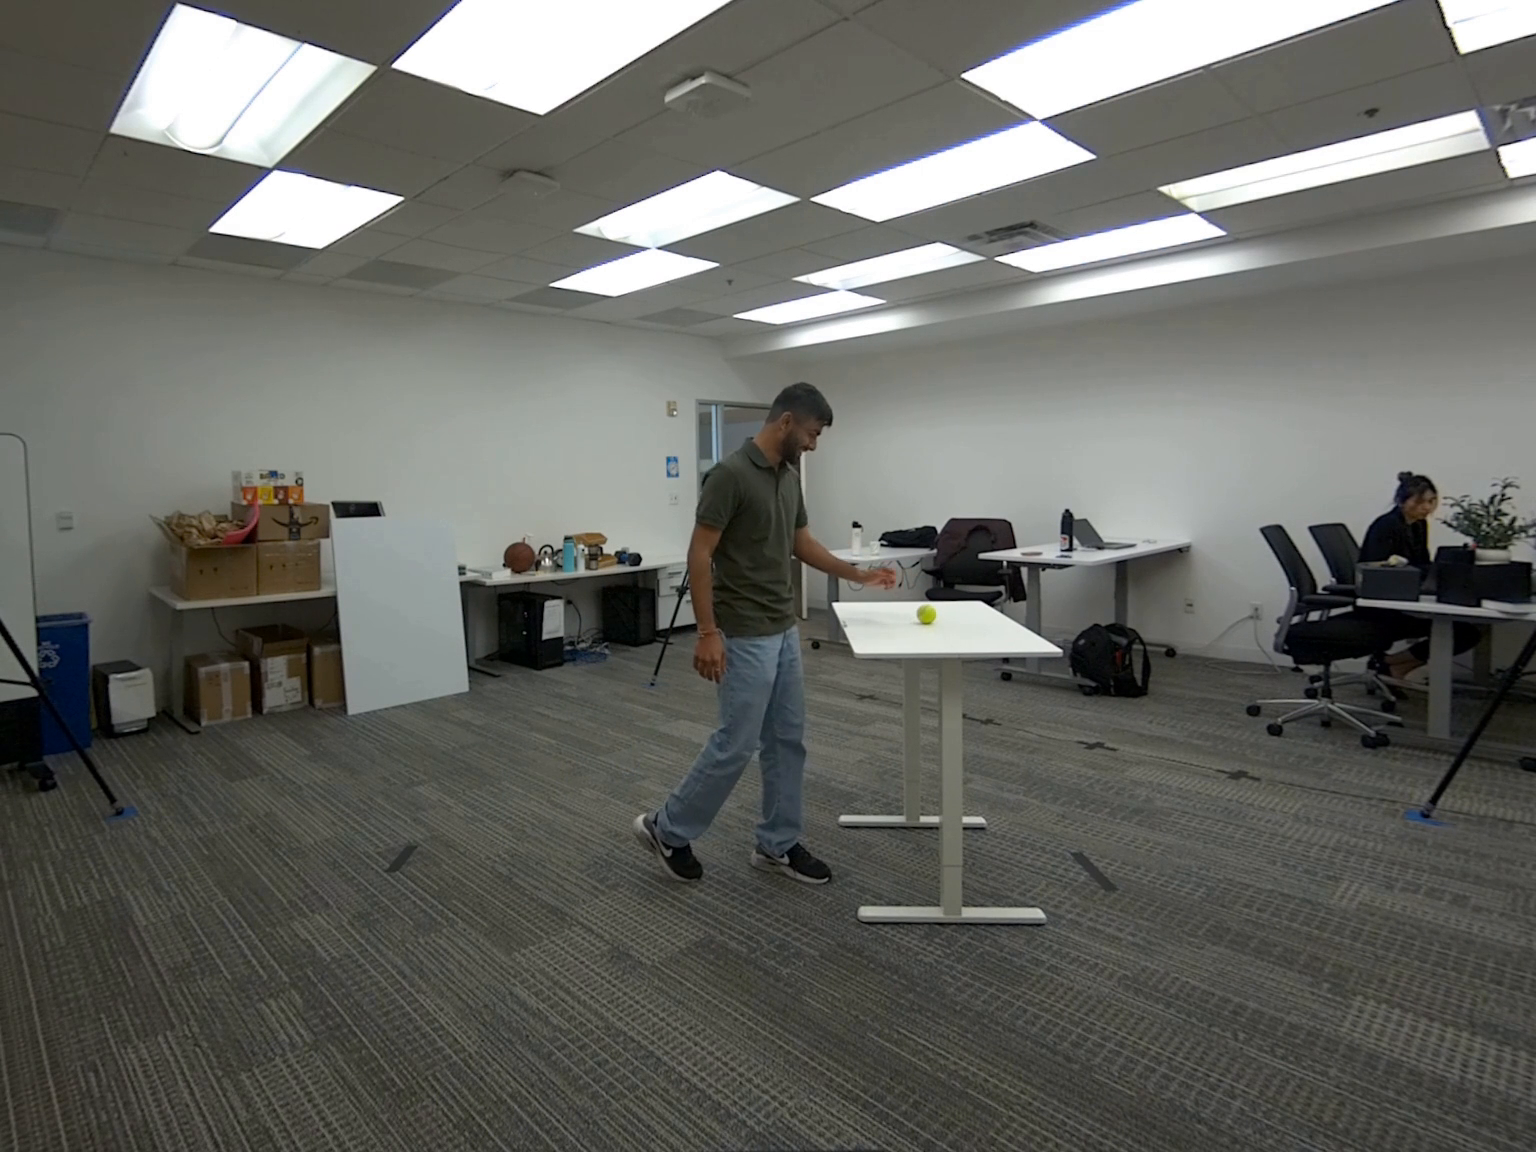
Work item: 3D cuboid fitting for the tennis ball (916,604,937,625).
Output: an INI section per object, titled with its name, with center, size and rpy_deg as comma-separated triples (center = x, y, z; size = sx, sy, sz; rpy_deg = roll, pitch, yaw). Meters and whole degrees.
[tennis ball]
center = 0.540, 0.130, 2.987
size = 0.066, 0.066, 0.067
rpy_deg = -1, 5, -2
